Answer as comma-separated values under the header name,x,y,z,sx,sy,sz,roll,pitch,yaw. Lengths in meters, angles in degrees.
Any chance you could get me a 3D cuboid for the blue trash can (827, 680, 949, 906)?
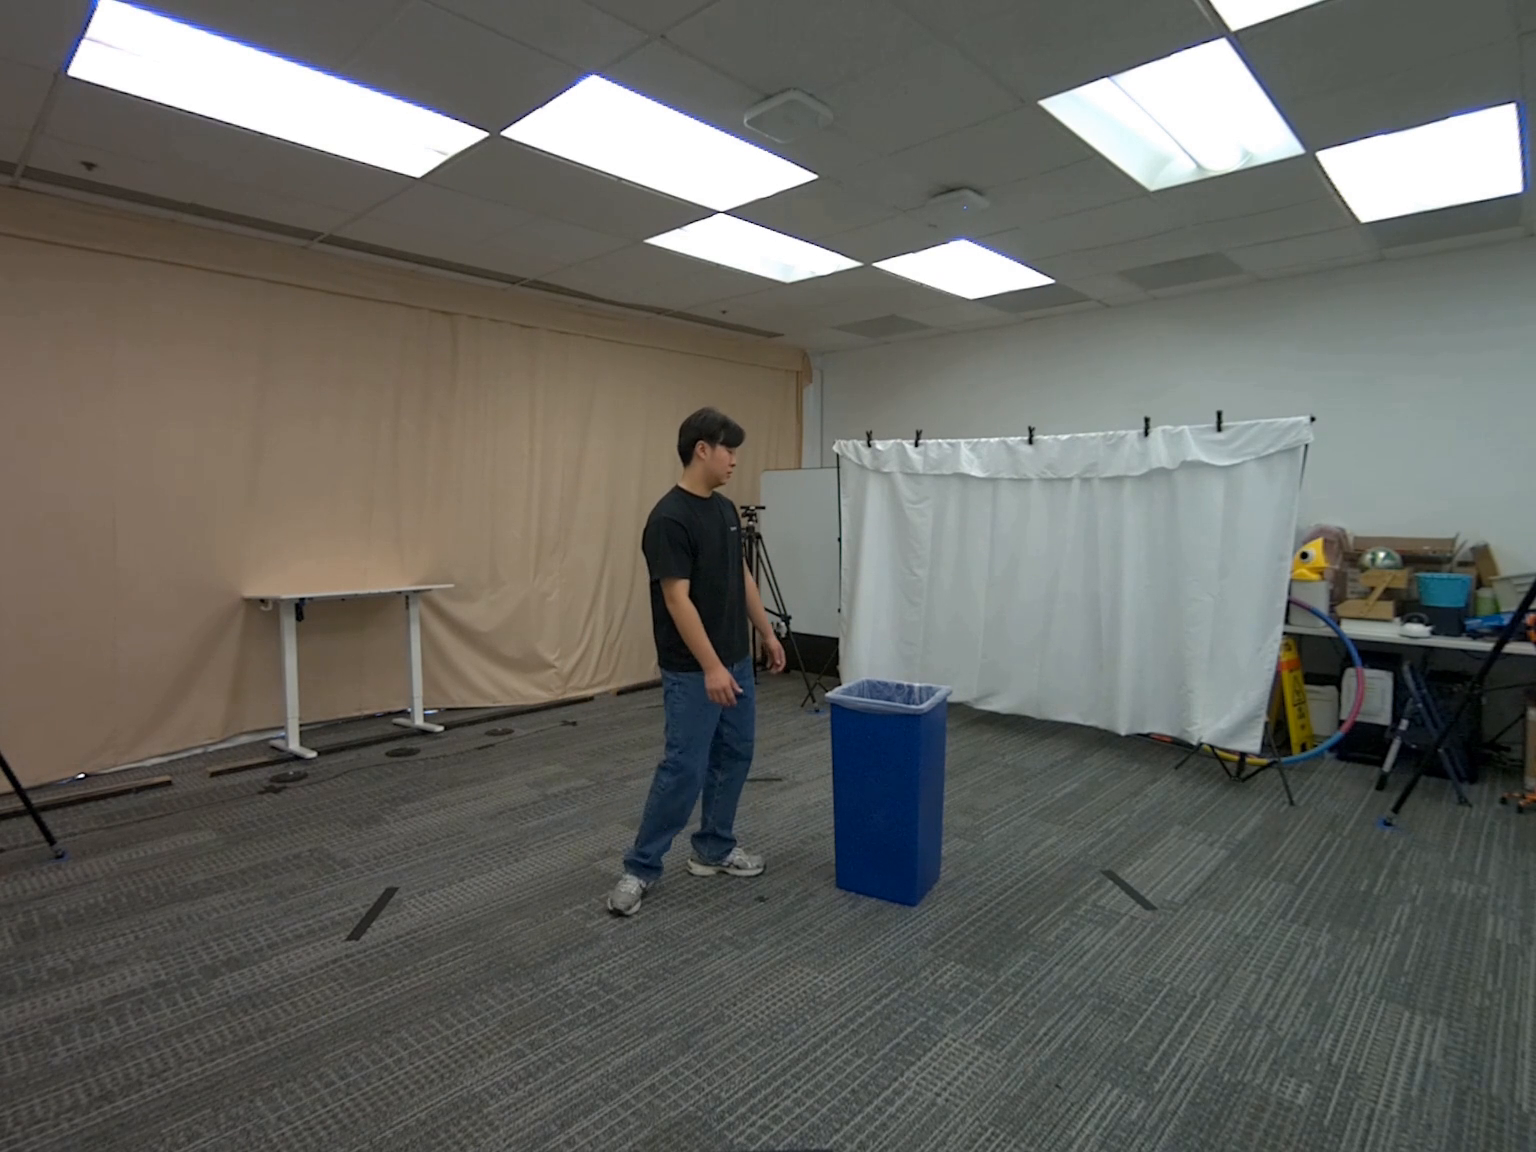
name,x,y,z,sx,sy,sz,roll,pitch,yaw
blue trash can,0.451,0.776,3.087,0.389,0.712,0.364,2,3,29
